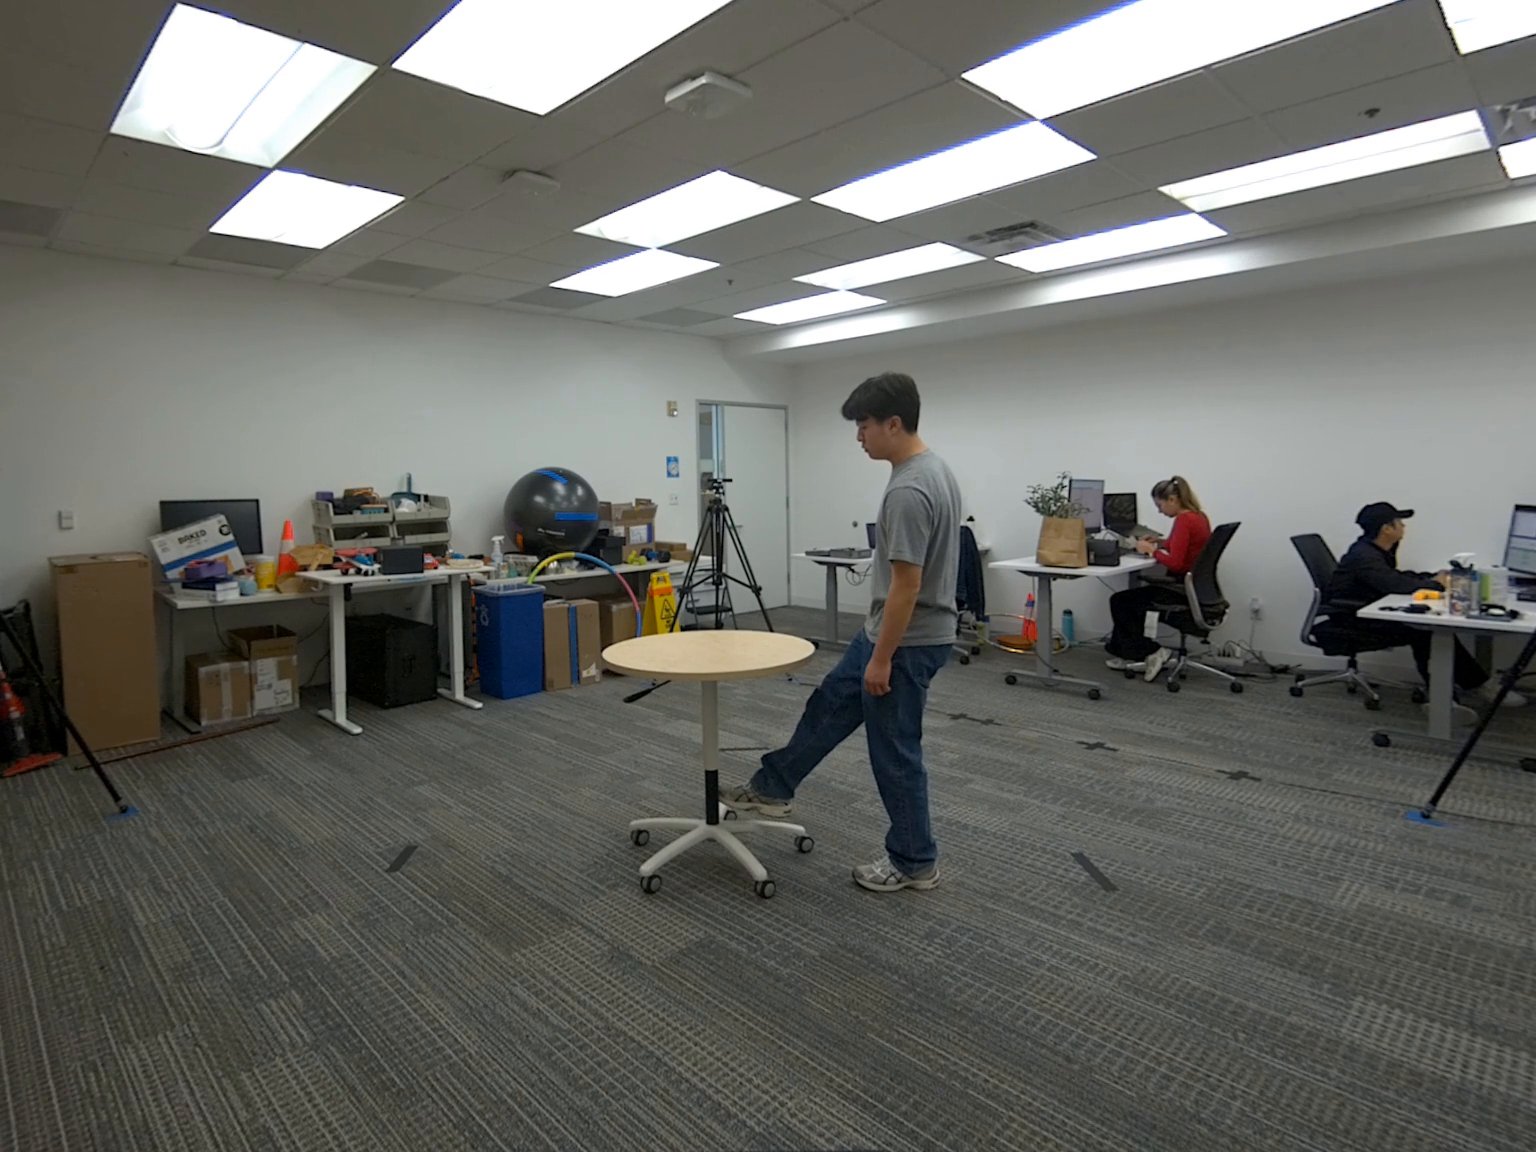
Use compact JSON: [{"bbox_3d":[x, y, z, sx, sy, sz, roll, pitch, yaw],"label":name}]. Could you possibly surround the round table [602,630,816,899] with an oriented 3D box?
[{"bbox_3d":[-0.201,0.656,3.122,0.763,0.791,0.768,-1,5,-2],"label":"round table"}]
